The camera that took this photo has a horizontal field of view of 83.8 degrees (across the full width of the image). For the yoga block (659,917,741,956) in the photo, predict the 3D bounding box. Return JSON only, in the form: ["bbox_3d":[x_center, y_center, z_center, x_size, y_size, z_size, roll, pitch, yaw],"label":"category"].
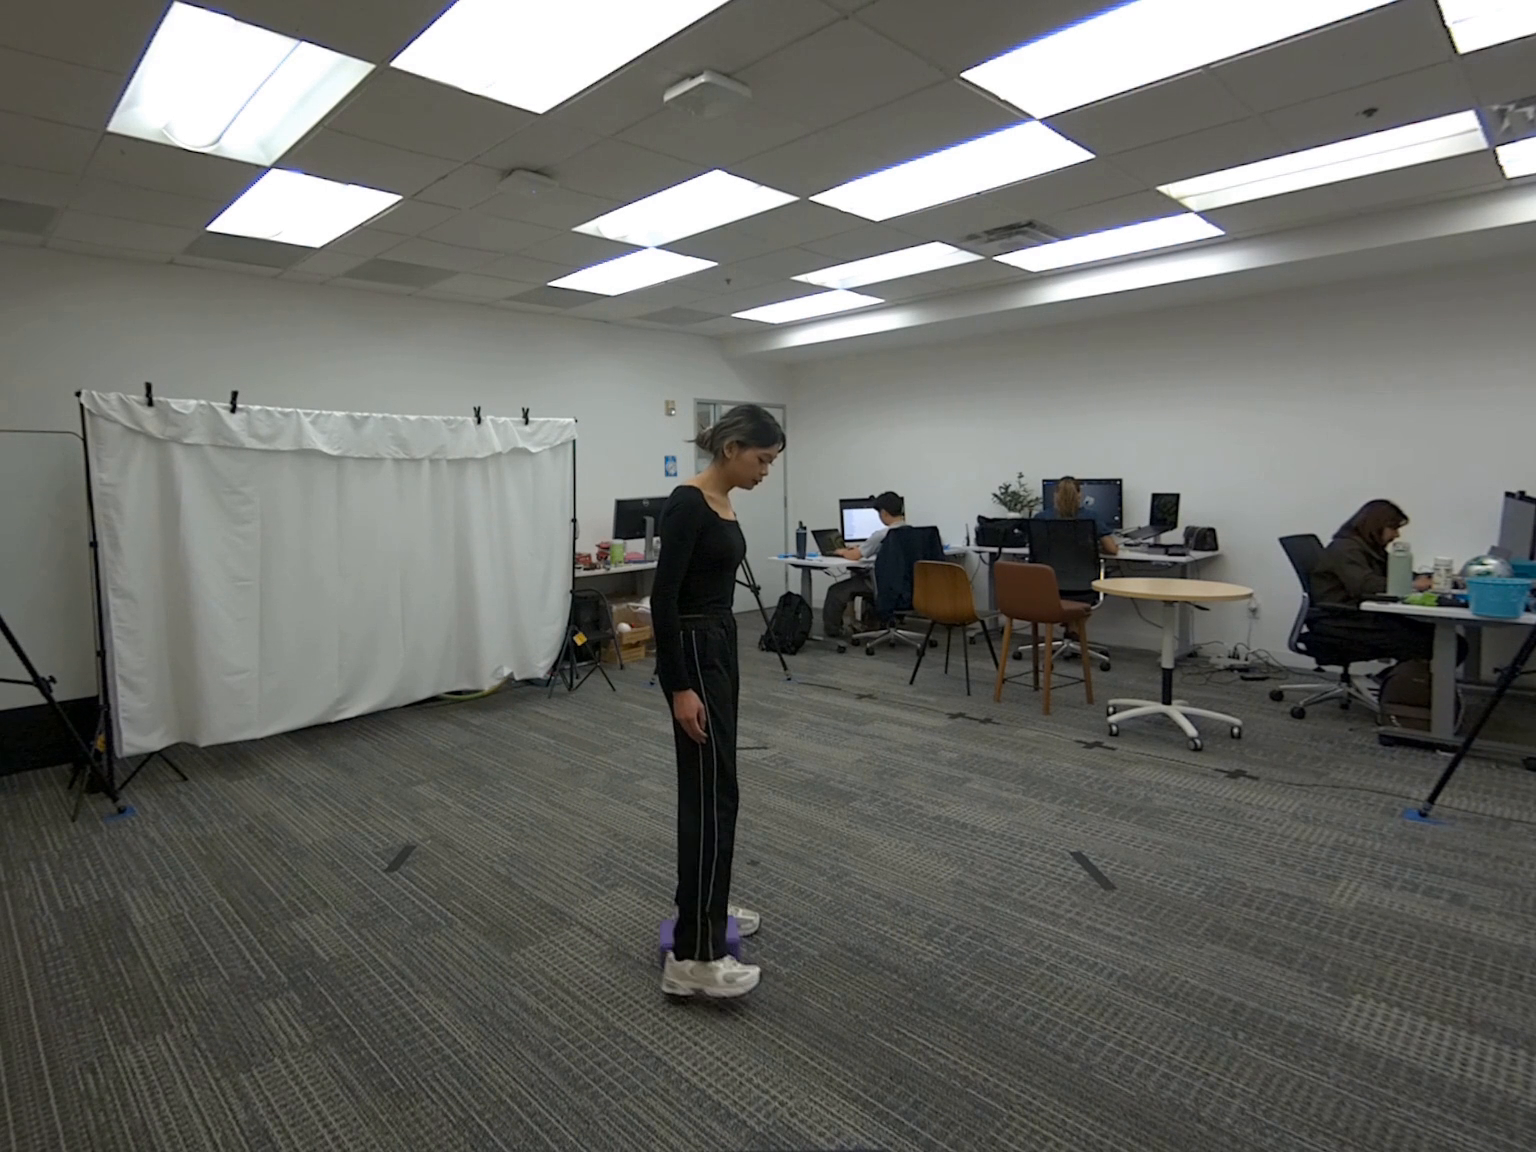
[{"bbox_3d":[-0.199,1.074,2.519,0.228,0.076,0.150,-1,6,-5],"label":"yoga block"}]
